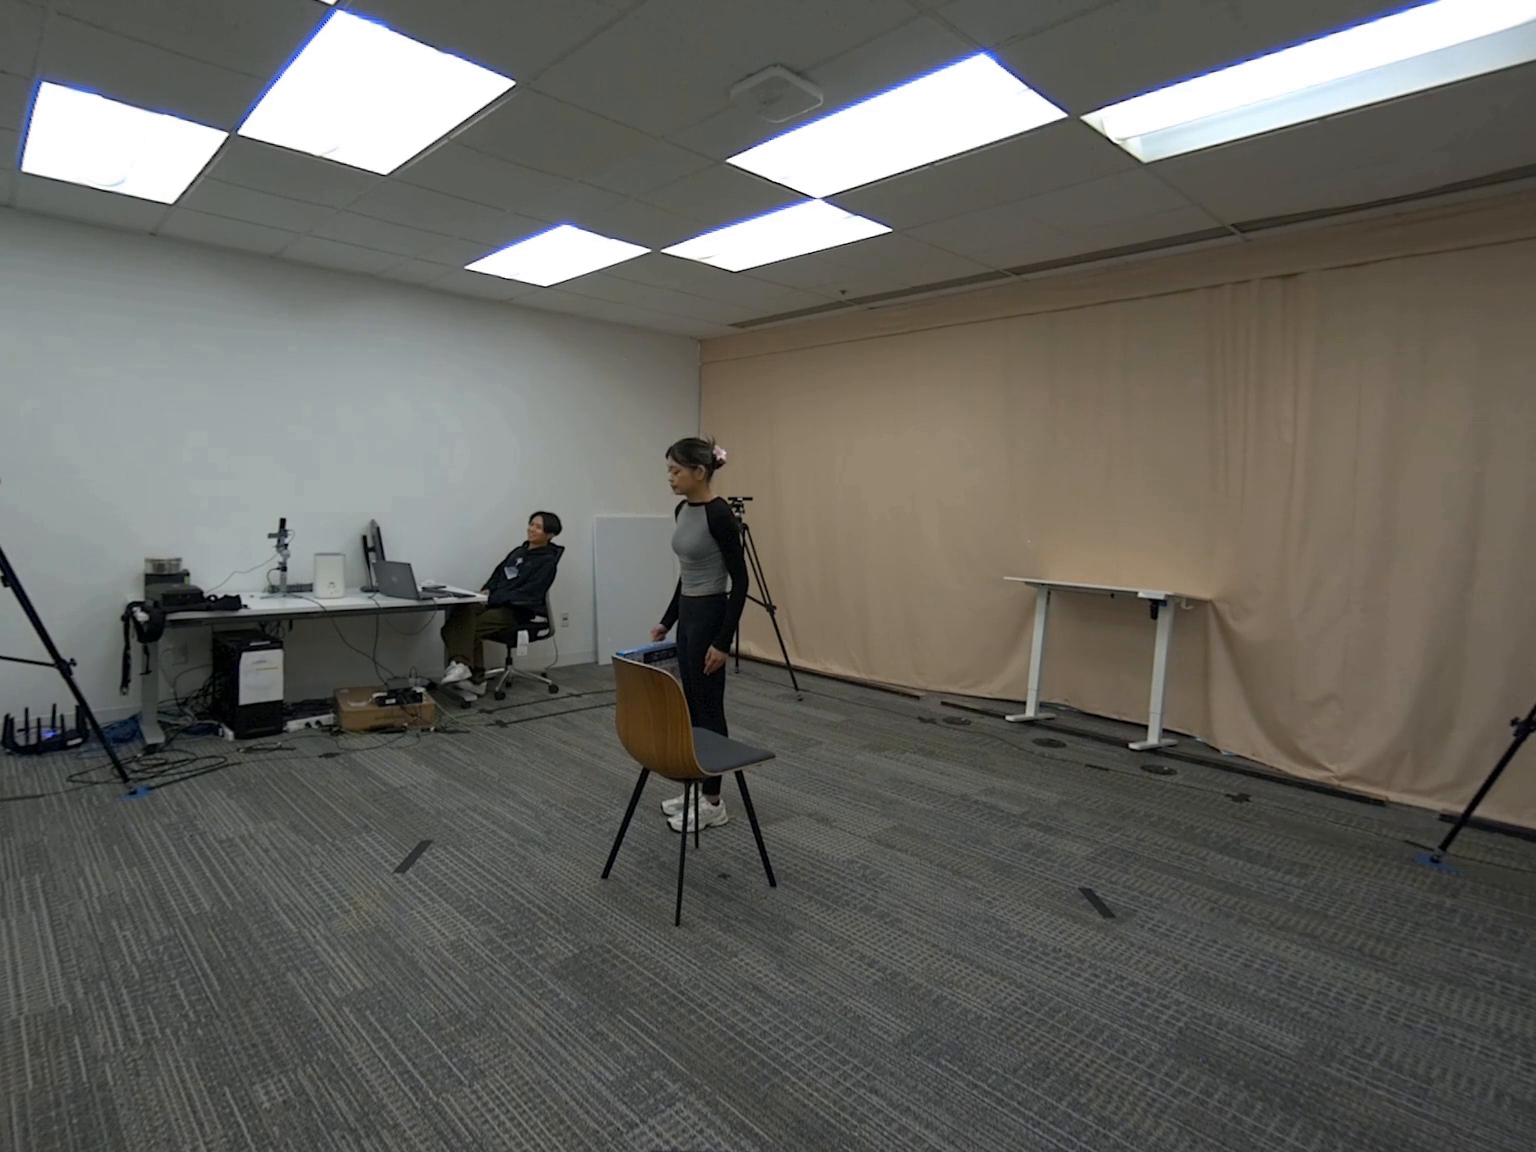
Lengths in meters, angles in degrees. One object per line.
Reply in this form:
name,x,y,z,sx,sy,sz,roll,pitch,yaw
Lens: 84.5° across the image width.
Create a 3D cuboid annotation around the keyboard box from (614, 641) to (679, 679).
keyboard box,-0.483,0.394,3.737,0.060,0.175,0.428,2,7,44
